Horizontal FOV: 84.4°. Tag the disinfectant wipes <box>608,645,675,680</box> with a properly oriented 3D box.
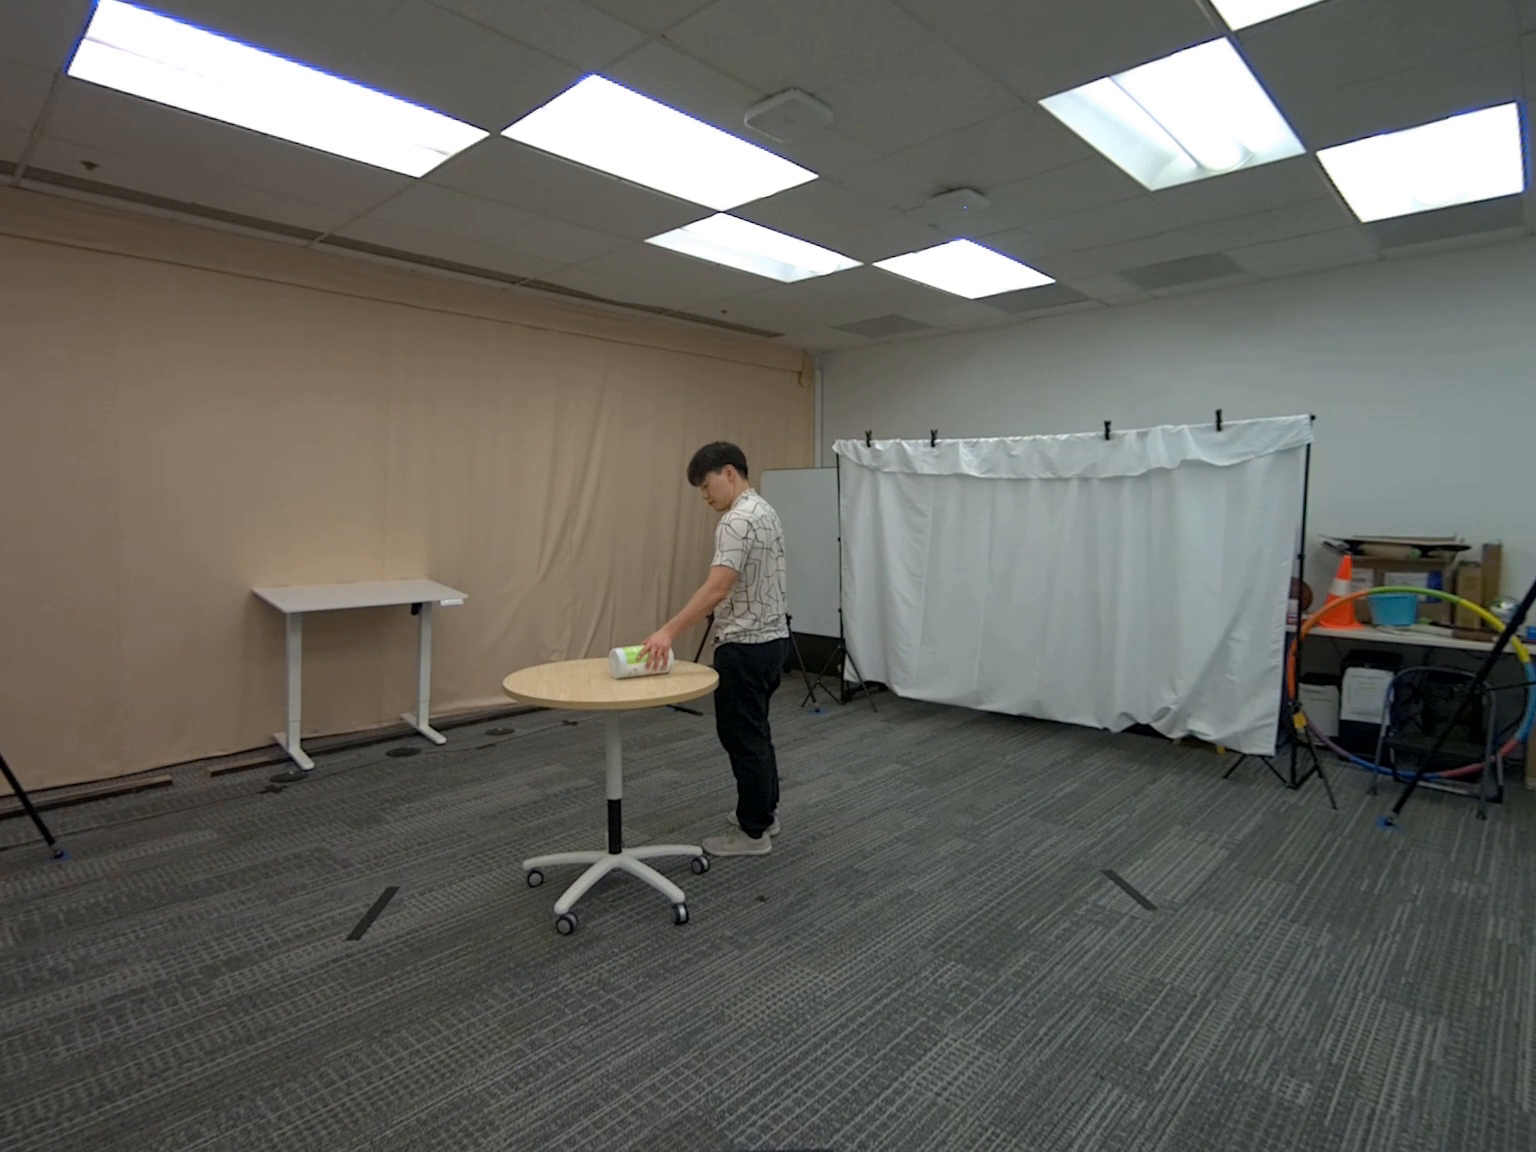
[{"bbox_3d":[-0.461,0.306,3.046,0.212,0.117,0.121,-2,4,-27],"label":"disinfectant wipes"}]
